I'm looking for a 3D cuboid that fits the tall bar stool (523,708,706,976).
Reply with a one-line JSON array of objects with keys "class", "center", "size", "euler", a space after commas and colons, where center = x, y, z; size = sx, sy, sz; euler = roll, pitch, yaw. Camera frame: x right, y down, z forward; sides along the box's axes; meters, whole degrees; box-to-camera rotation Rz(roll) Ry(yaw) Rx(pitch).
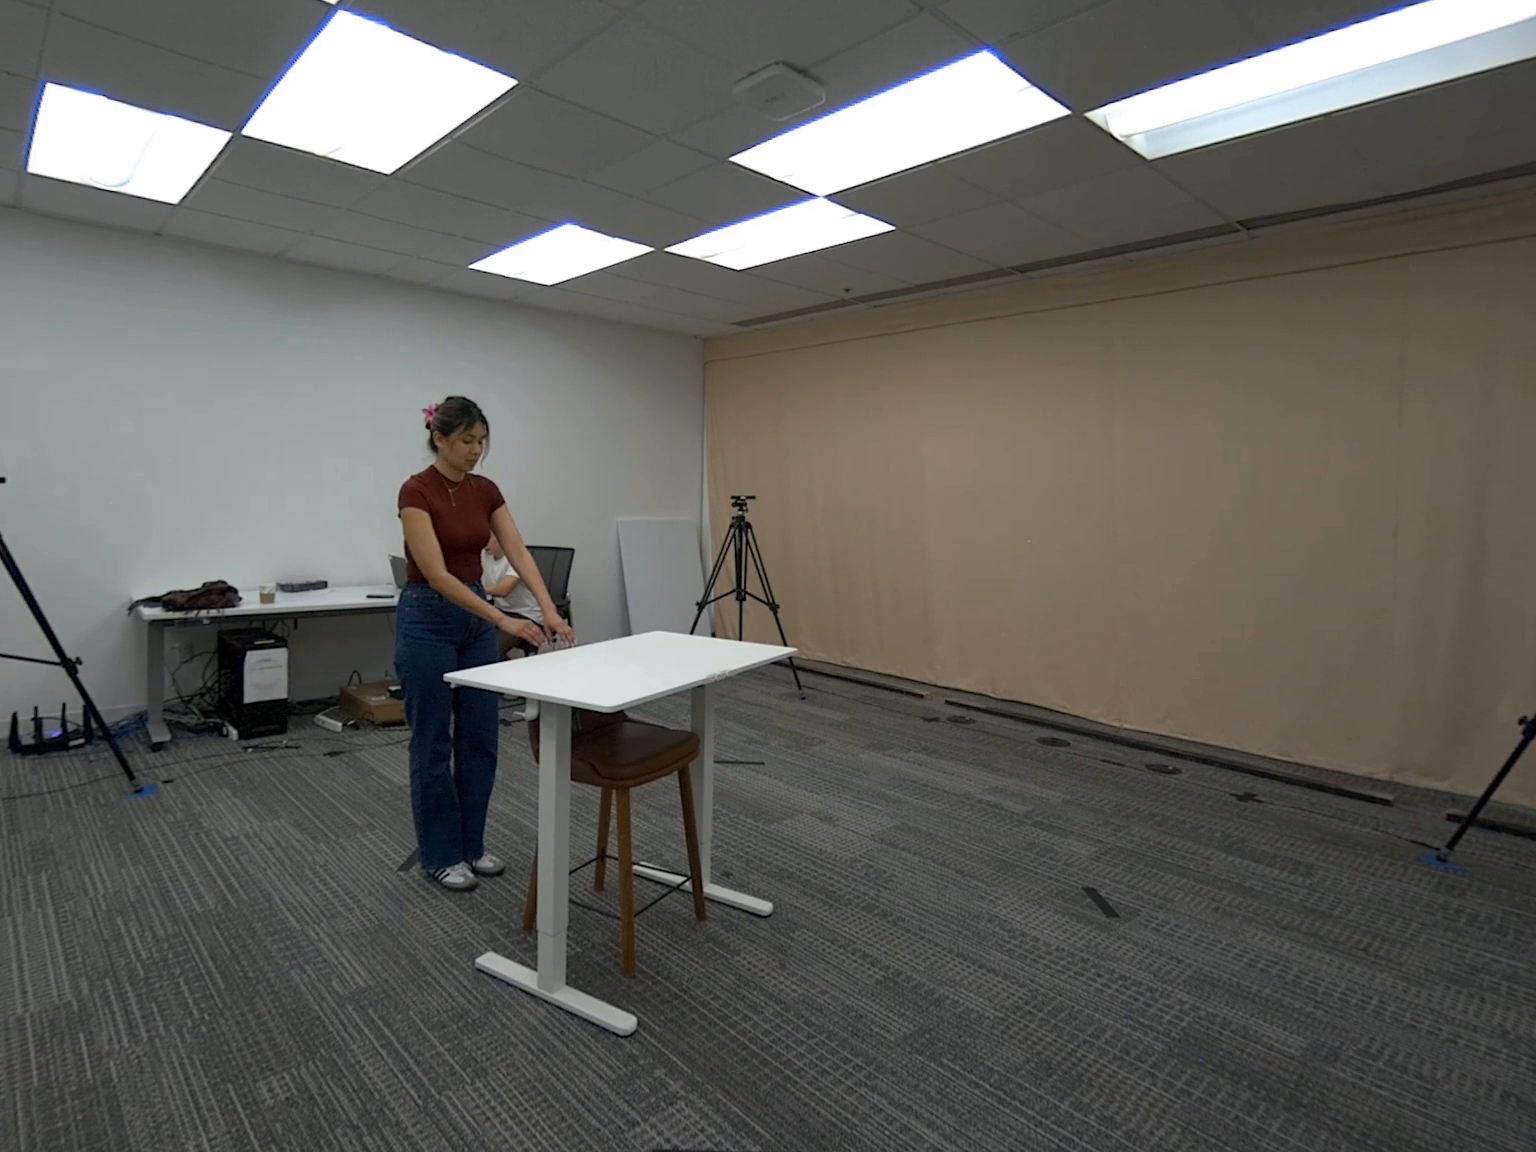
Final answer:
[{"class": "tall bar stool", "center": [-0.502, 0.704, 2.689], "size": [0.477, 0.888, 0.448], "euler": [0, 2, 30]}]
